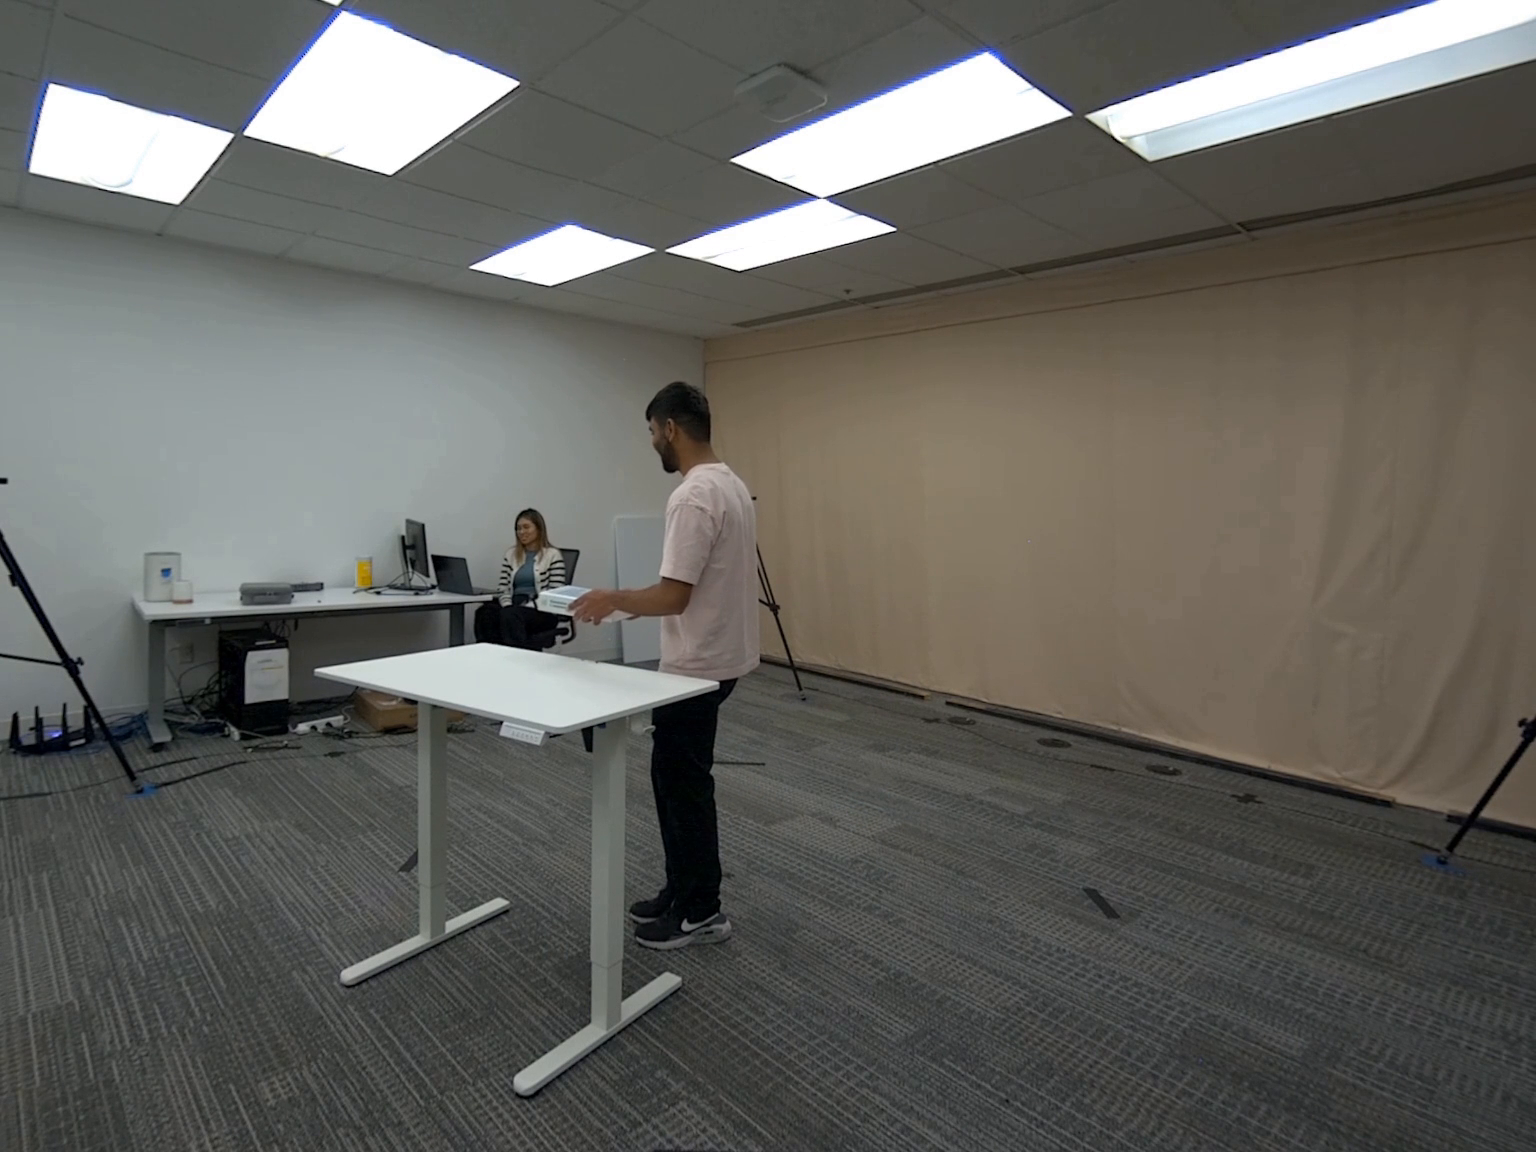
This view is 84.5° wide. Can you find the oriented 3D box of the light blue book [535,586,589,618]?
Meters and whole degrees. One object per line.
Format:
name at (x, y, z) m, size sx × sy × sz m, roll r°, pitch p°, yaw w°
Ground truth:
light blue book at (-0.566, 0.088, 2.705) m, size 0.264 × 0.058 × 0.190 m, roll 7°, pitch 10°, yaw 15°
